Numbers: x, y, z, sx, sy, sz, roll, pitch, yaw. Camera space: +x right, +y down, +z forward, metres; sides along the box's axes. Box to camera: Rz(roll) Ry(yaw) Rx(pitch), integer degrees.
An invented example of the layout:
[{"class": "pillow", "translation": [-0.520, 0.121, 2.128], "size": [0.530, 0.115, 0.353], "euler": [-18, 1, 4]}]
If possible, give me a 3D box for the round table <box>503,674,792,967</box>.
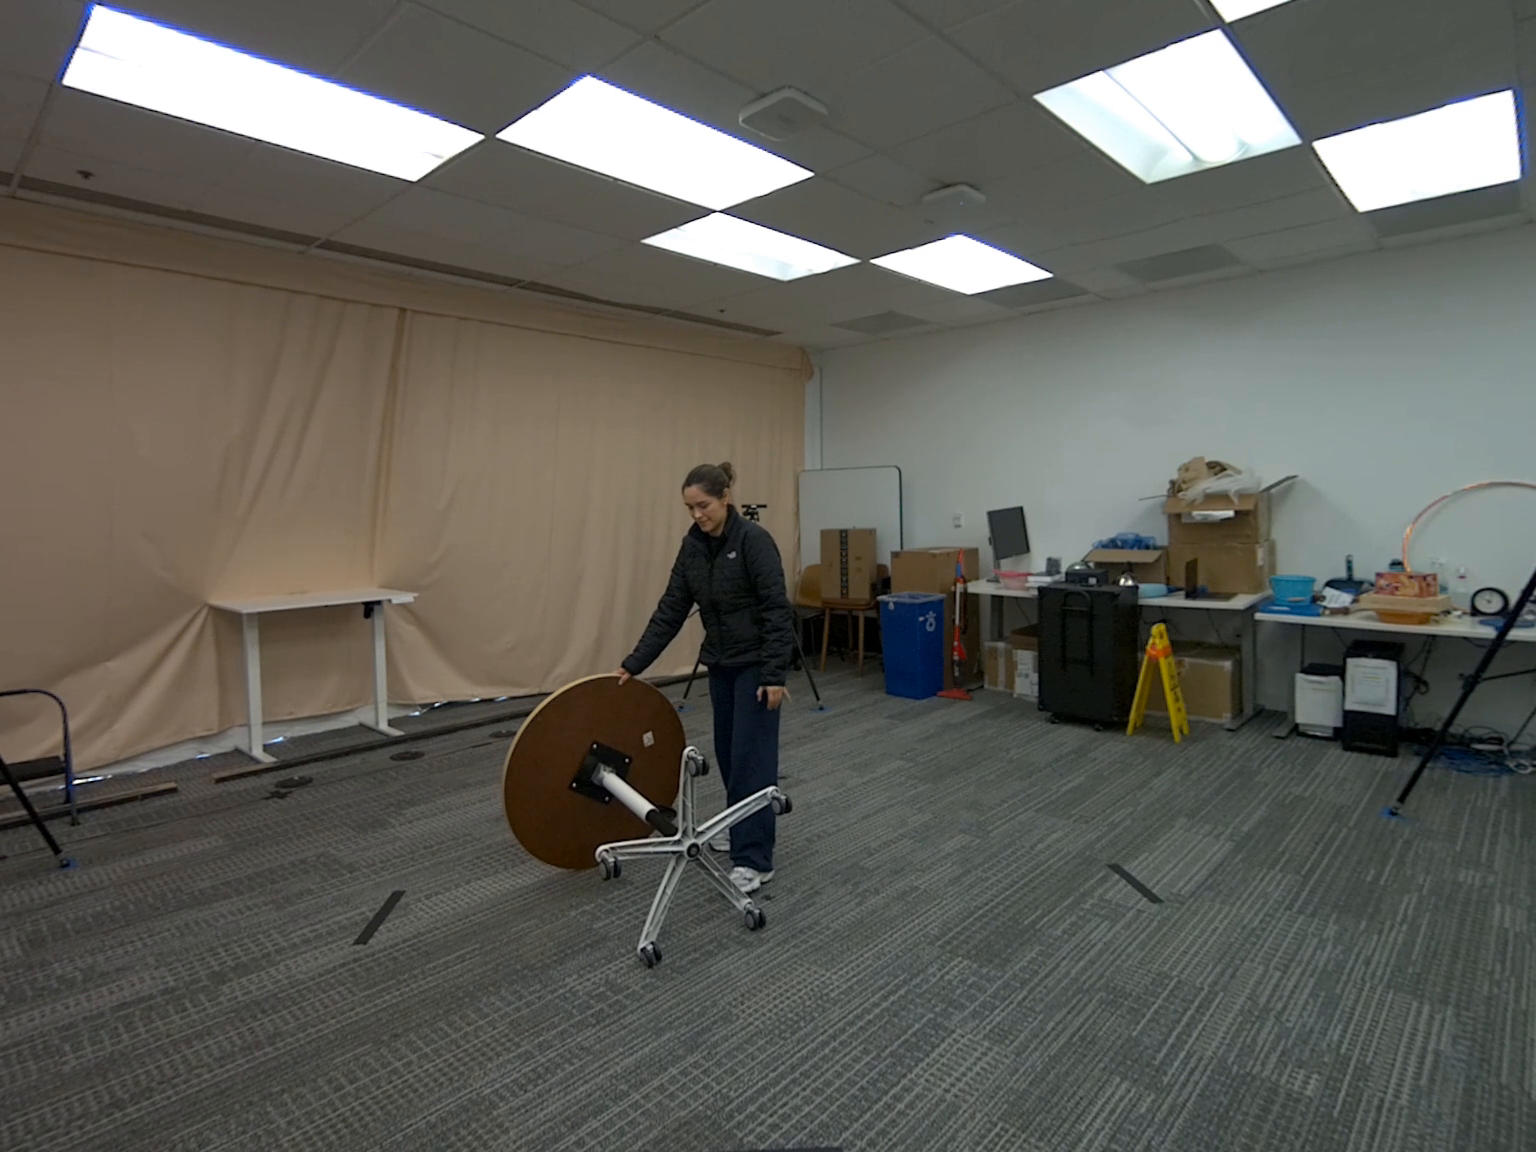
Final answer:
[{"class": "round table", "translation": [-0.404, 0.821, 2.928], "size": [0.762, 0.781, 0.814], "euler": [-4, 12, -35]}]
